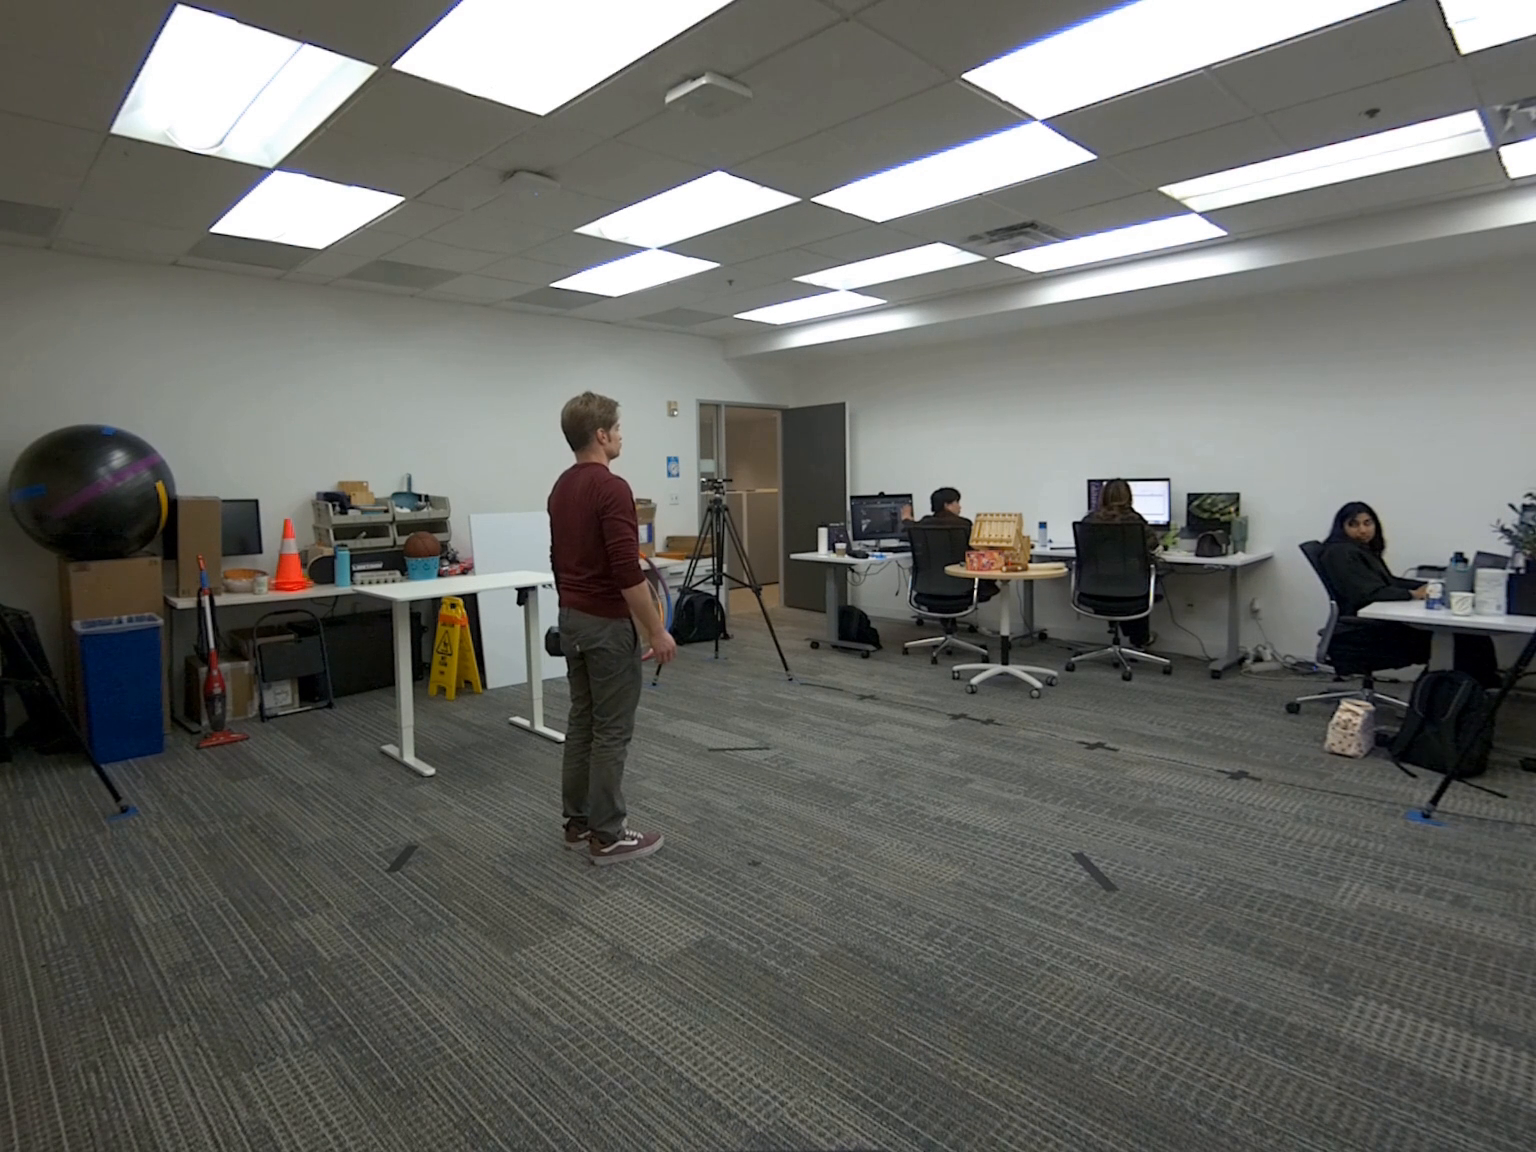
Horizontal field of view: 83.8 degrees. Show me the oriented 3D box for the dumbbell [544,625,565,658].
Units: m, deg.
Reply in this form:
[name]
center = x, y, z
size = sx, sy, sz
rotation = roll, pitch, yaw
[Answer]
[dumbbell]
center = -0.741, 0.264, 3.484
size = 0.286, 0.112, 0.122
rotation = 3, -44, -31
